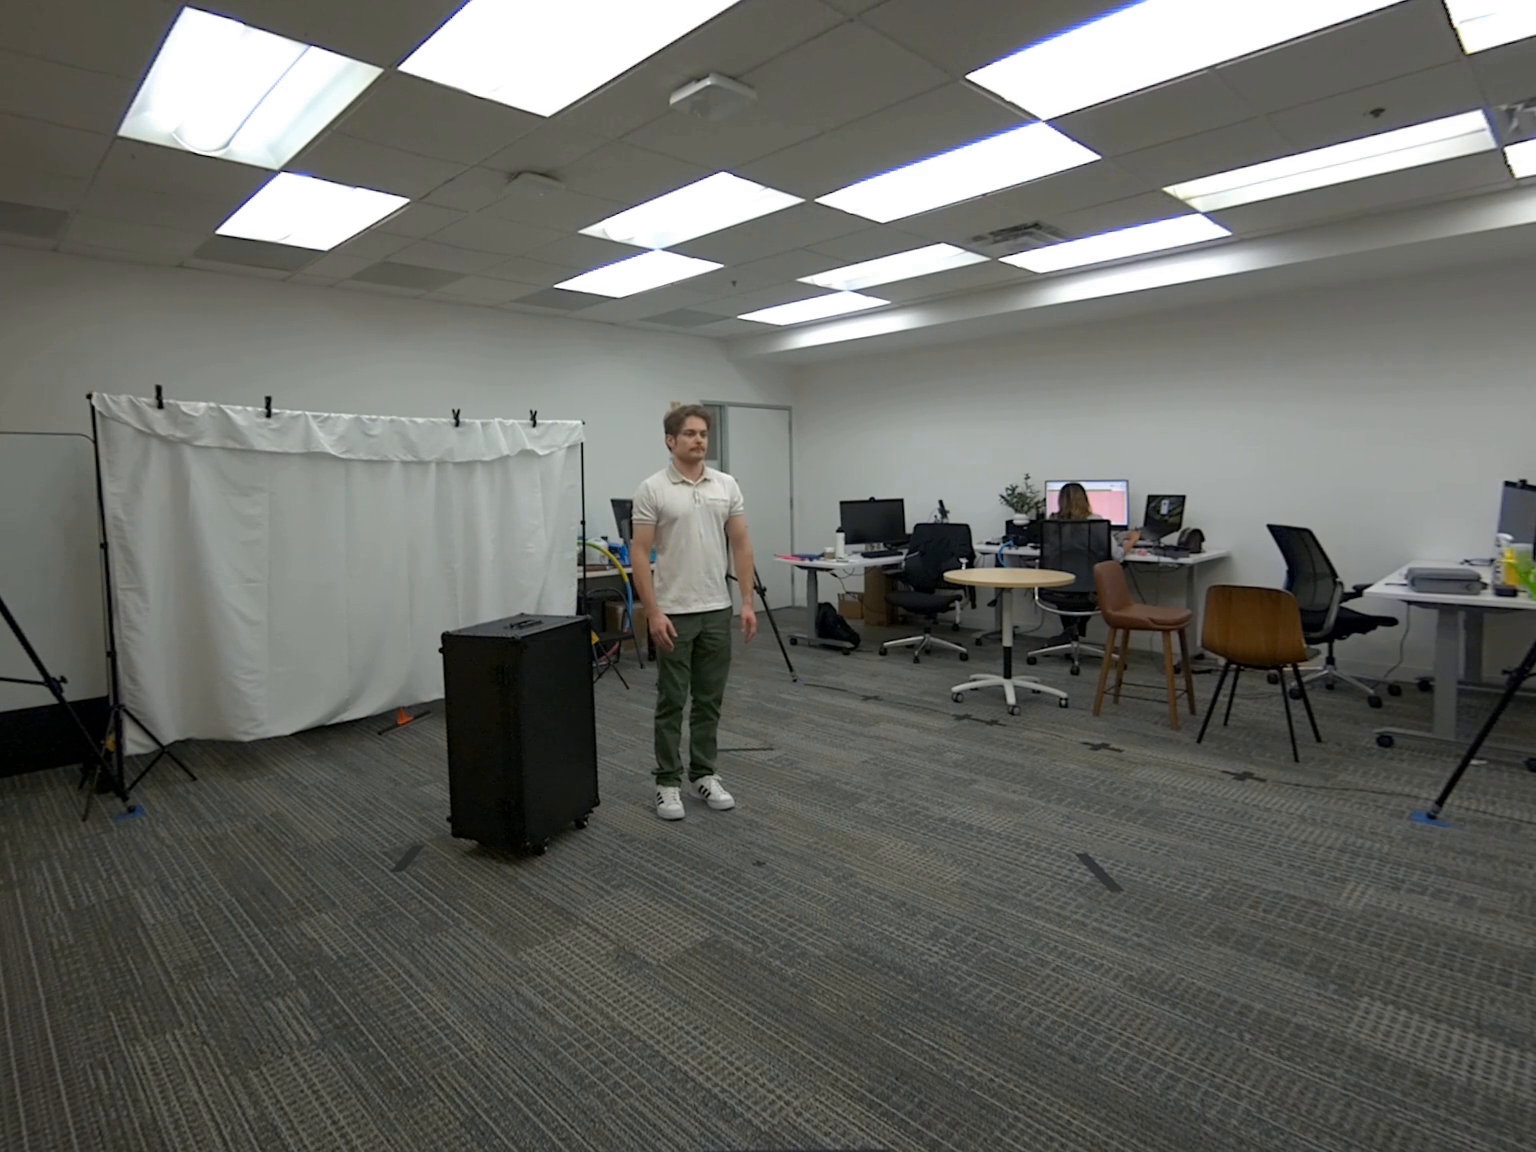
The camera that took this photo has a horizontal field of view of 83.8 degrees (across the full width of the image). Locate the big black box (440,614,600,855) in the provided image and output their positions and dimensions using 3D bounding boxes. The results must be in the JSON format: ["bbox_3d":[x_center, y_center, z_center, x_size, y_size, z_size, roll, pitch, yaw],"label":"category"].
[{"bbox_3d":[-0.963,0.614,3.358,0.393,0.866,0.514,0,4,23],"label":"big black box"}]
